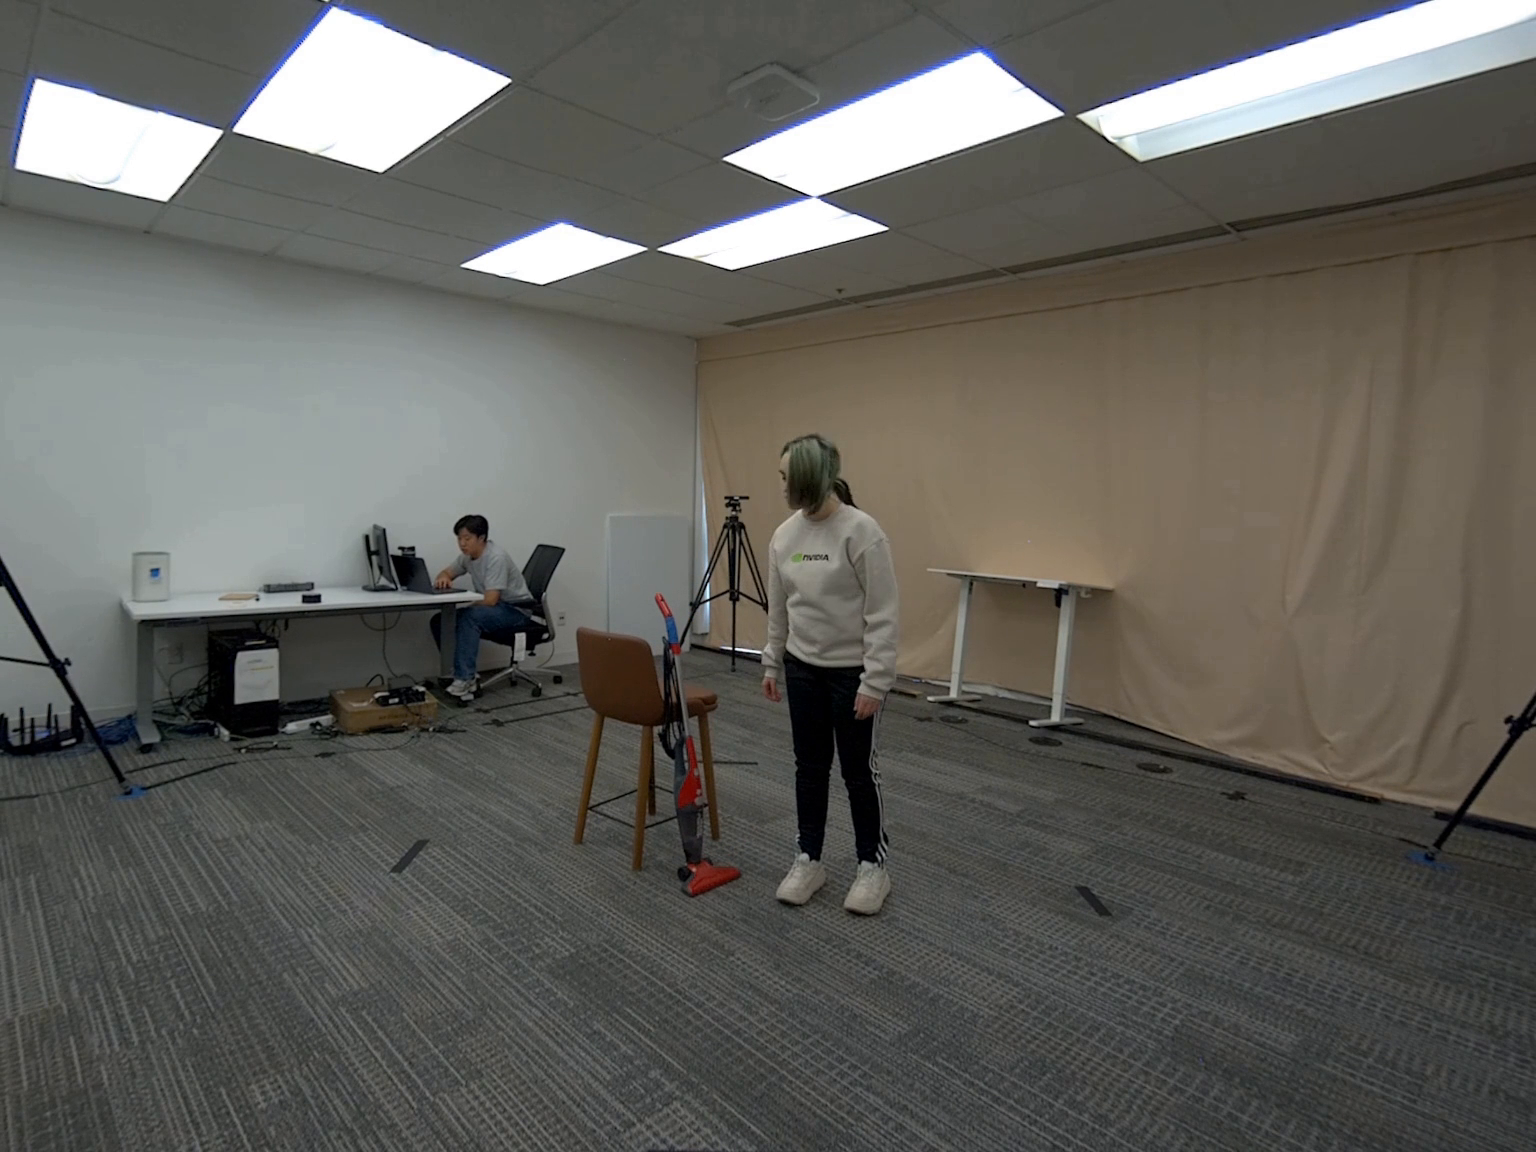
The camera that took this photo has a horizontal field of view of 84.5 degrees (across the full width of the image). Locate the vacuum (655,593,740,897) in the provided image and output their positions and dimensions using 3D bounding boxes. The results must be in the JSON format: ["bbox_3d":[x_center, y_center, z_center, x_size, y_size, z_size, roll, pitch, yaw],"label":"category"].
[{"bbox_3d":[-0.323,0.591,3.135,0.247,1.057,0.146,-4,-11,-39],"label":"vacuum"}]
